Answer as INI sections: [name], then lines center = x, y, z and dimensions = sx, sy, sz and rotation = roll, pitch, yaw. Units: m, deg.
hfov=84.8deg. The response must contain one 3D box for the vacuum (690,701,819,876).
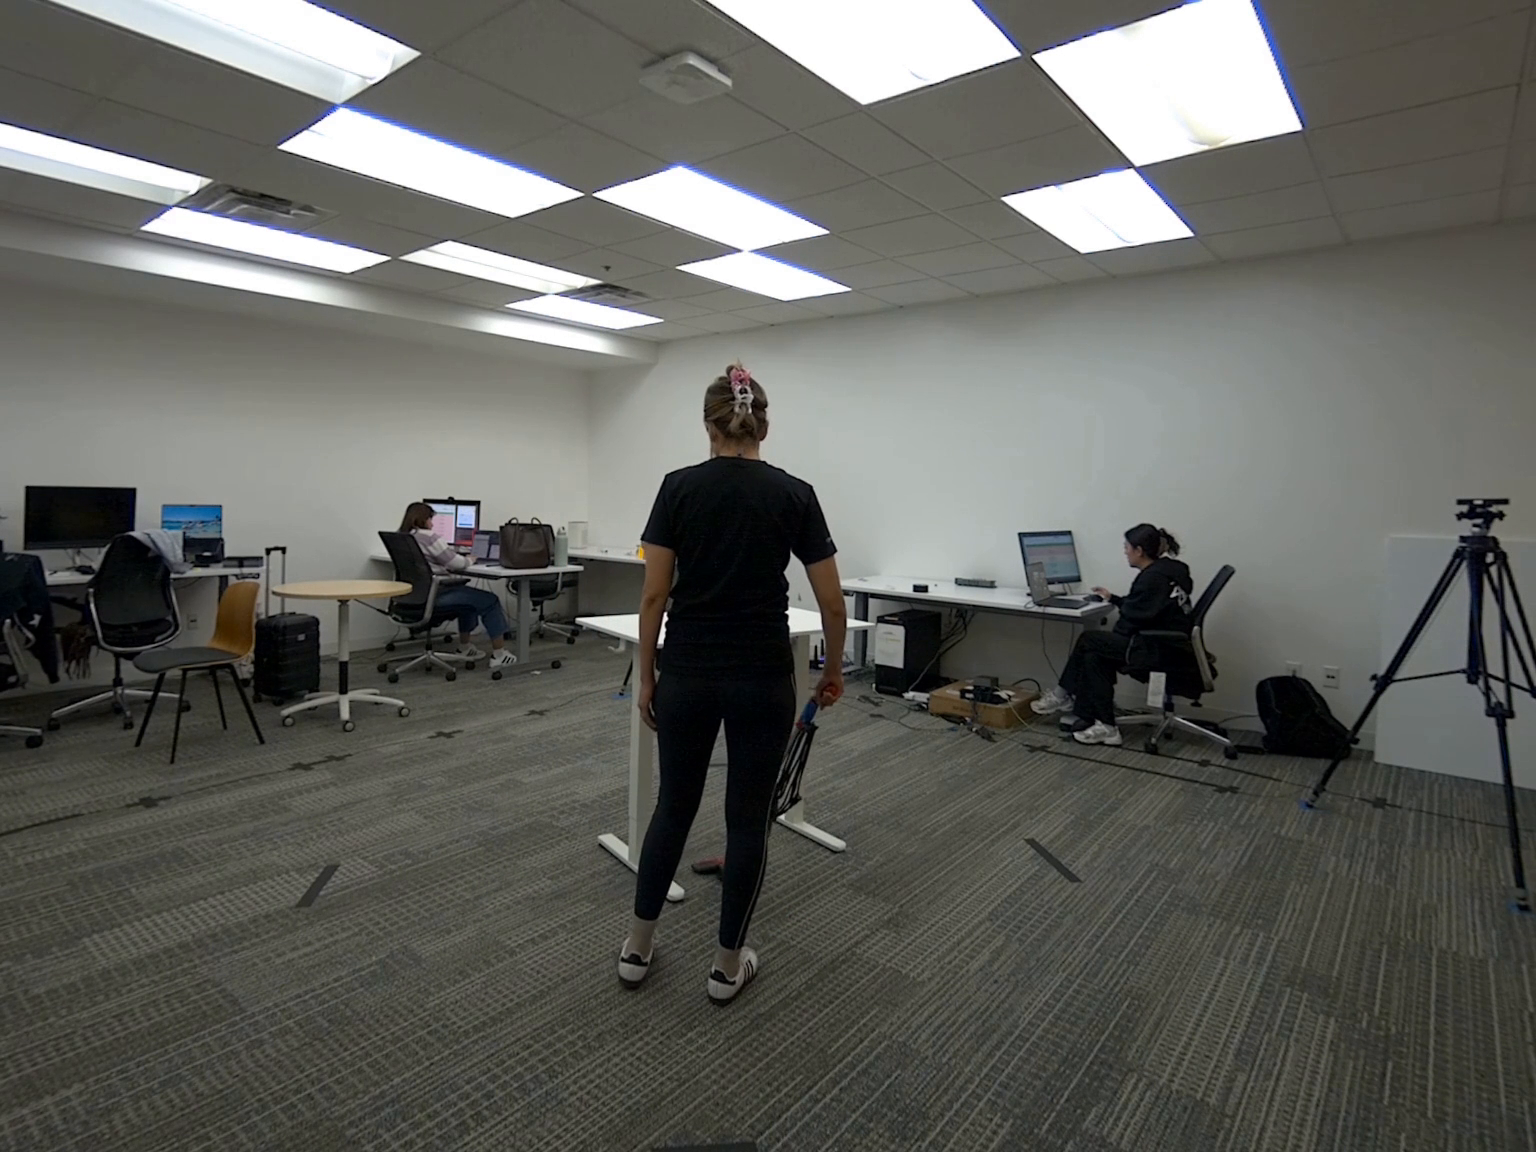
[vacuum]
center = 0.008, 0.695, 2.761
dimensions = 0.246, 1.035, 0.150
rotation = -3, 47, -29
